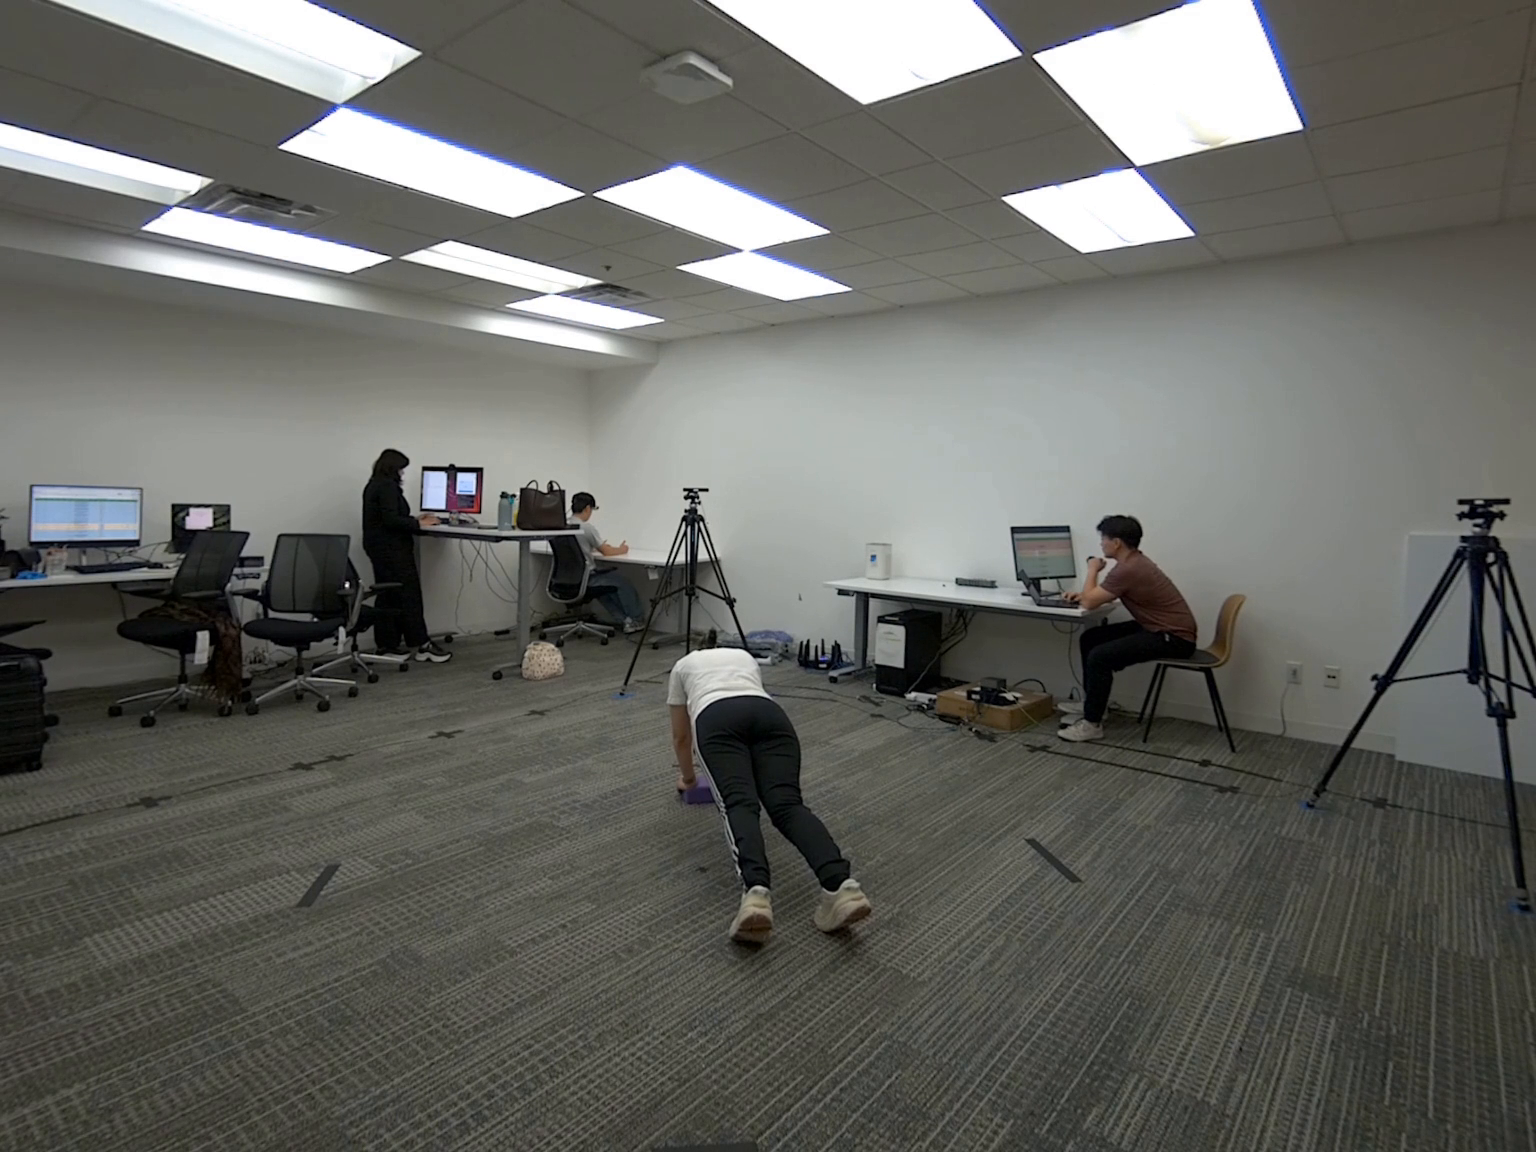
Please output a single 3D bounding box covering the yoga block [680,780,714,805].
[{"bbox_3d":[-0.277,0.959,3.837,0.226,0.076,0.152,-2,6,-14],"label":"yoga block"}]
